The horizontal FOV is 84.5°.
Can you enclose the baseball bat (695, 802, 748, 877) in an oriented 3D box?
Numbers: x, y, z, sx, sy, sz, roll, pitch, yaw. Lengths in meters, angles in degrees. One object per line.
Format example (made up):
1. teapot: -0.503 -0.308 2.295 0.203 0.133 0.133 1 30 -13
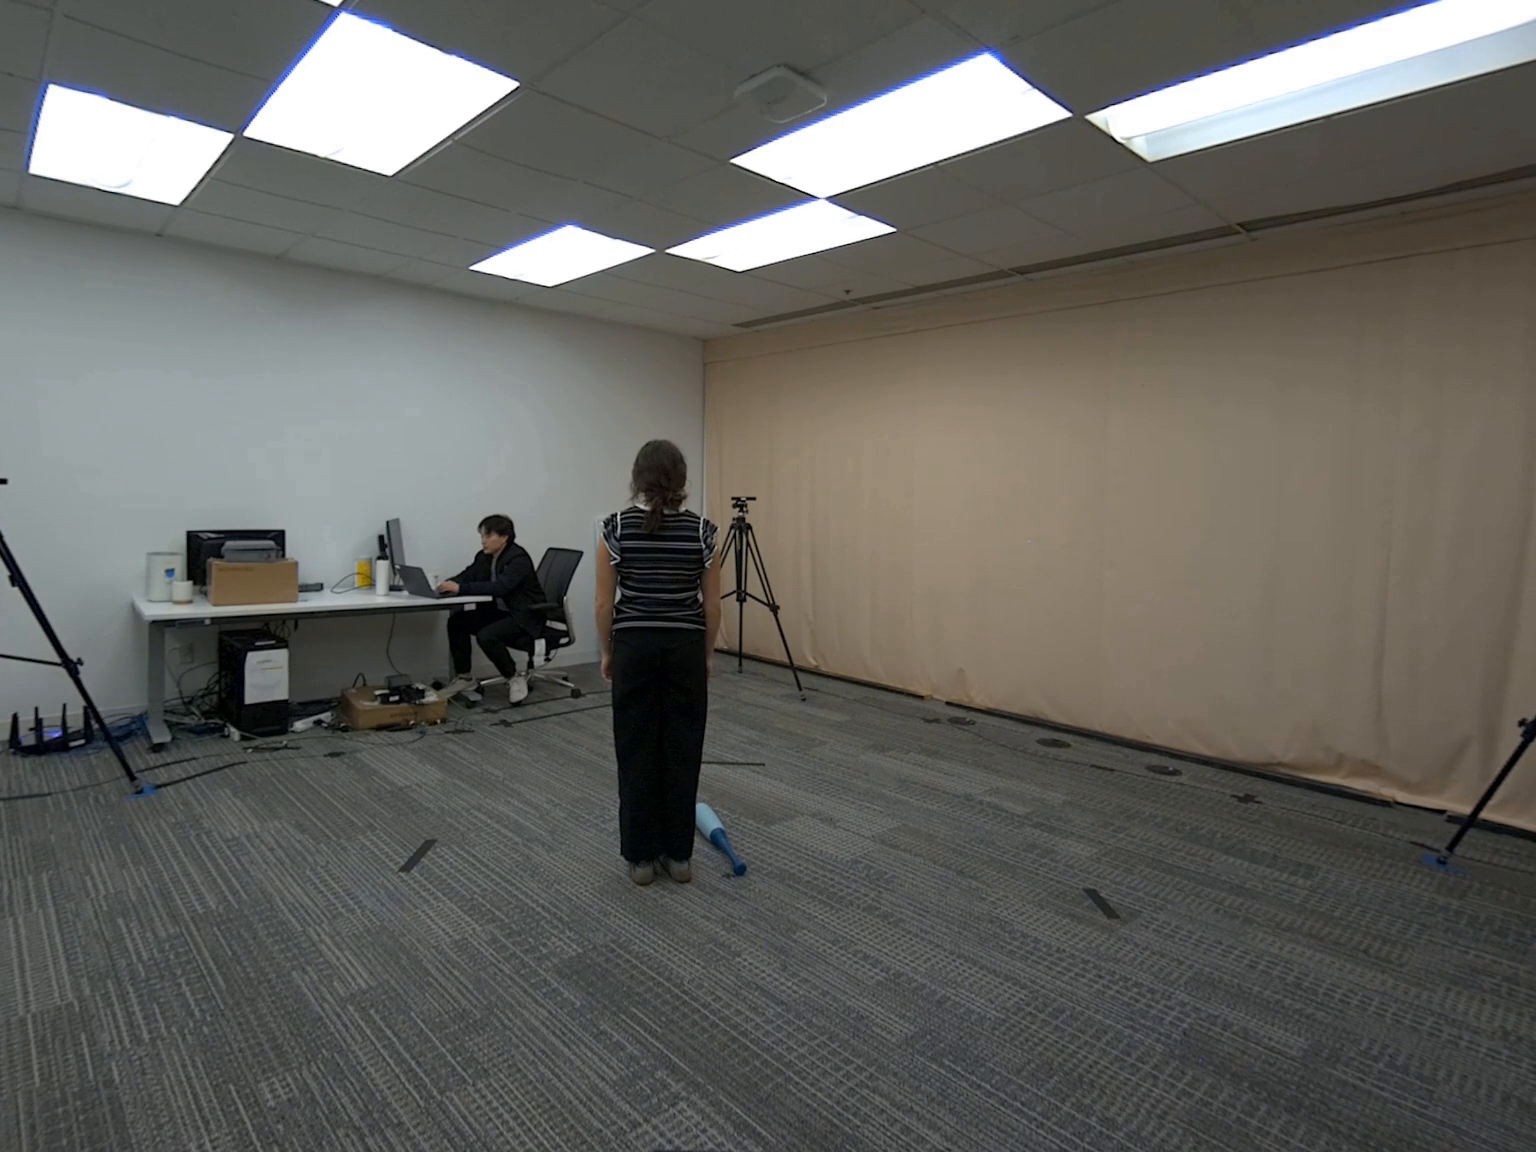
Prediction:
1. baseball bat: -0.198 1.049 3.358 0.088 0.088 0.554 0 8 -21
